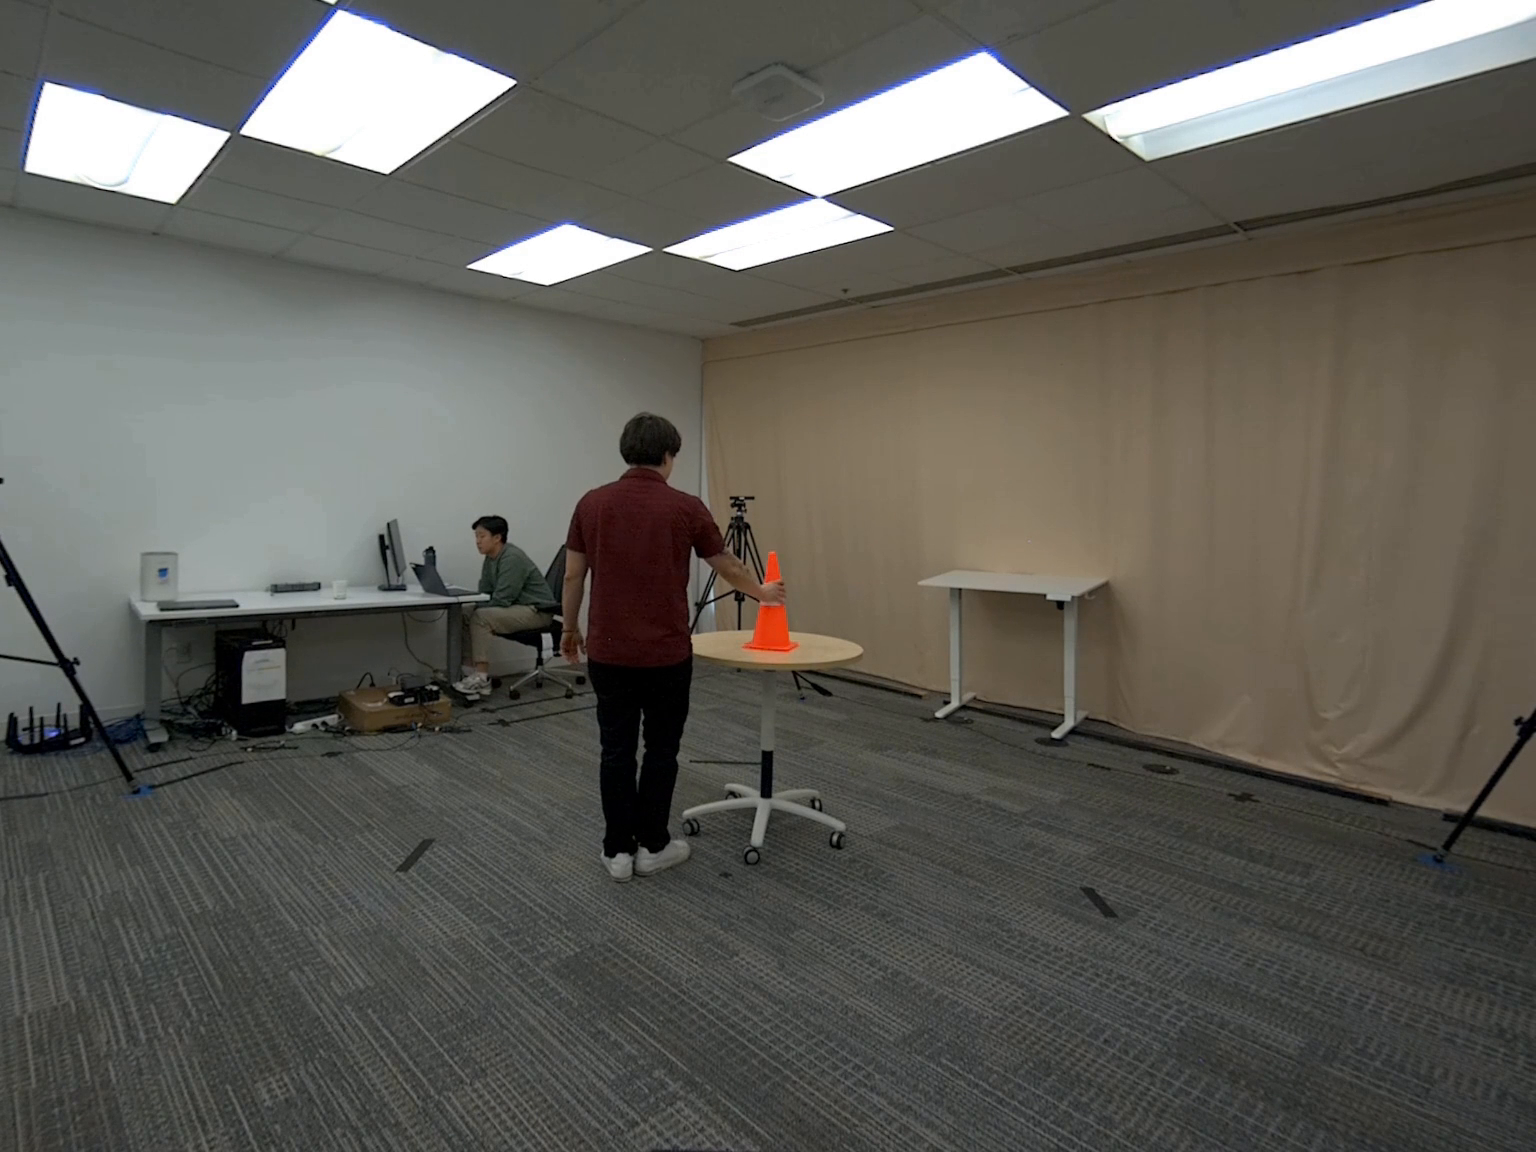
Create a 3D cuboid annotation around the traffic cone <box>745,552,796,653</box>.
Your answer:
[{"bbox_3d":[0.013,0.082,3.469,0.207,0.383,0.202,3,3,20],"label":"traffic cone"}]
